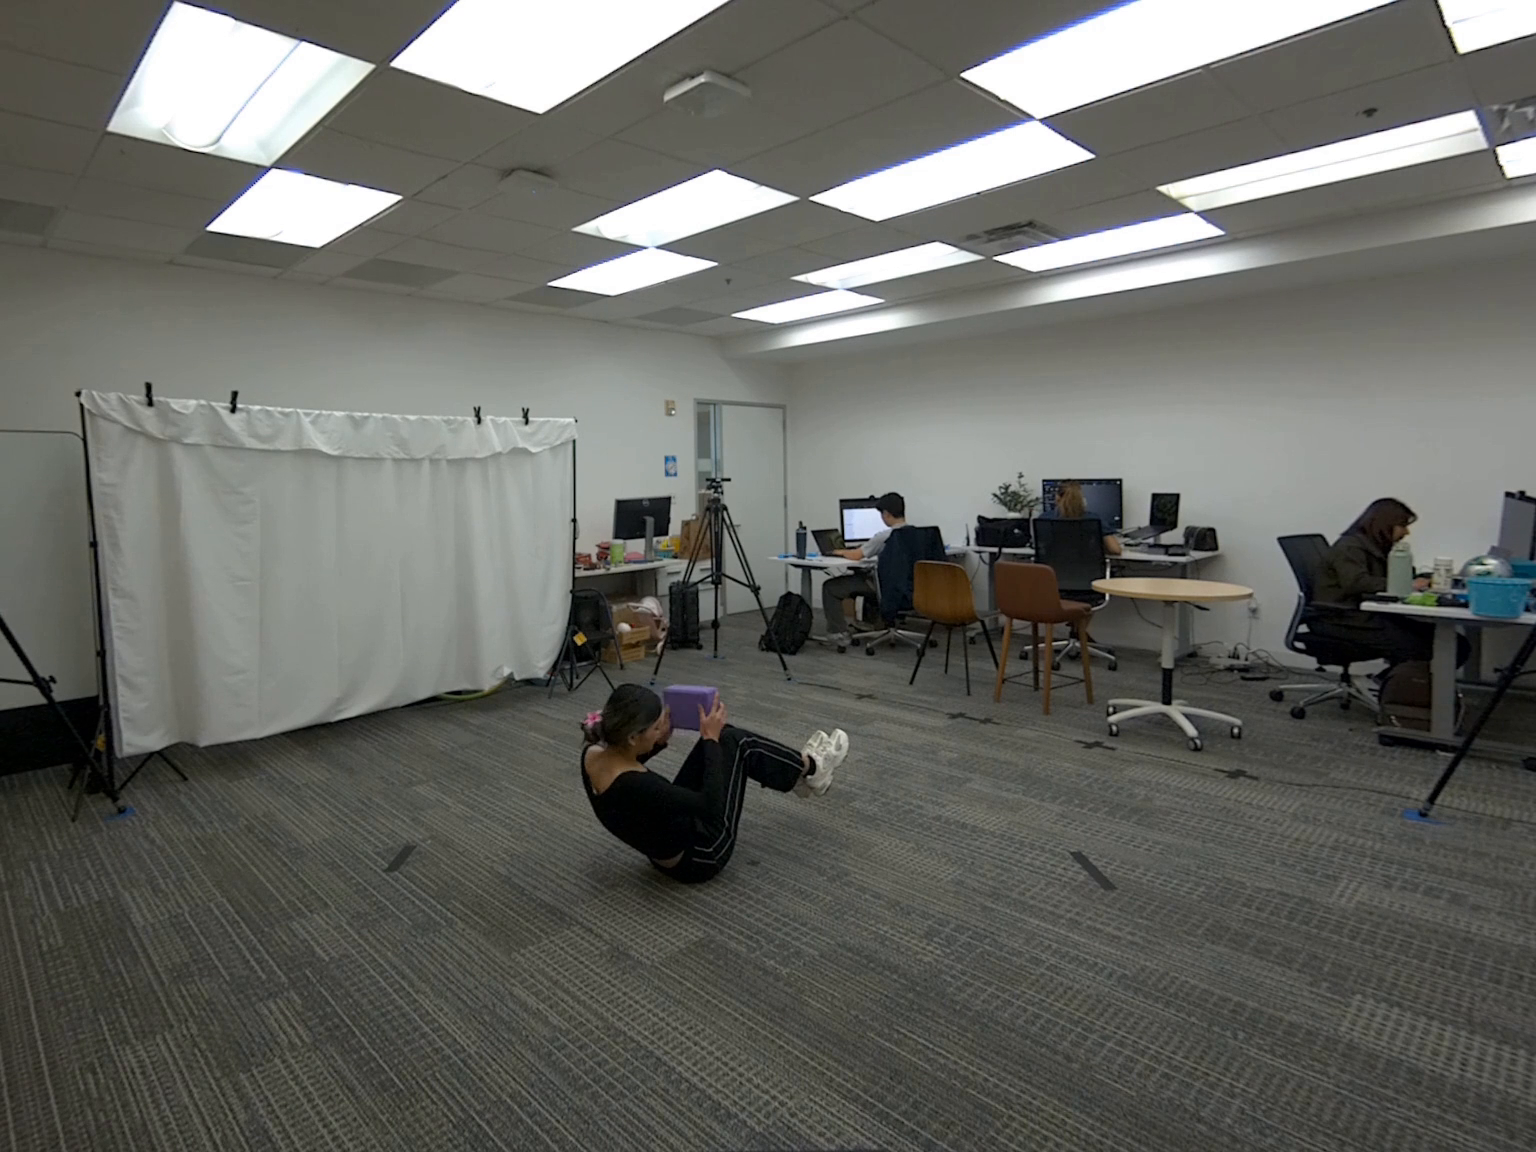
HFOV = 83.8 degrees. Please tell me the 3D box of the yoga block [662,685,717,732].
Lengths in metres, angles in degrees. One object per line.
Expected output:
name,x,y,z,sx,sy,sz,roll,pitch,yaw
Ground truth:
yoga block,-0.291,0.504,3.095,0.236,0.148,0.074,0,6,42
